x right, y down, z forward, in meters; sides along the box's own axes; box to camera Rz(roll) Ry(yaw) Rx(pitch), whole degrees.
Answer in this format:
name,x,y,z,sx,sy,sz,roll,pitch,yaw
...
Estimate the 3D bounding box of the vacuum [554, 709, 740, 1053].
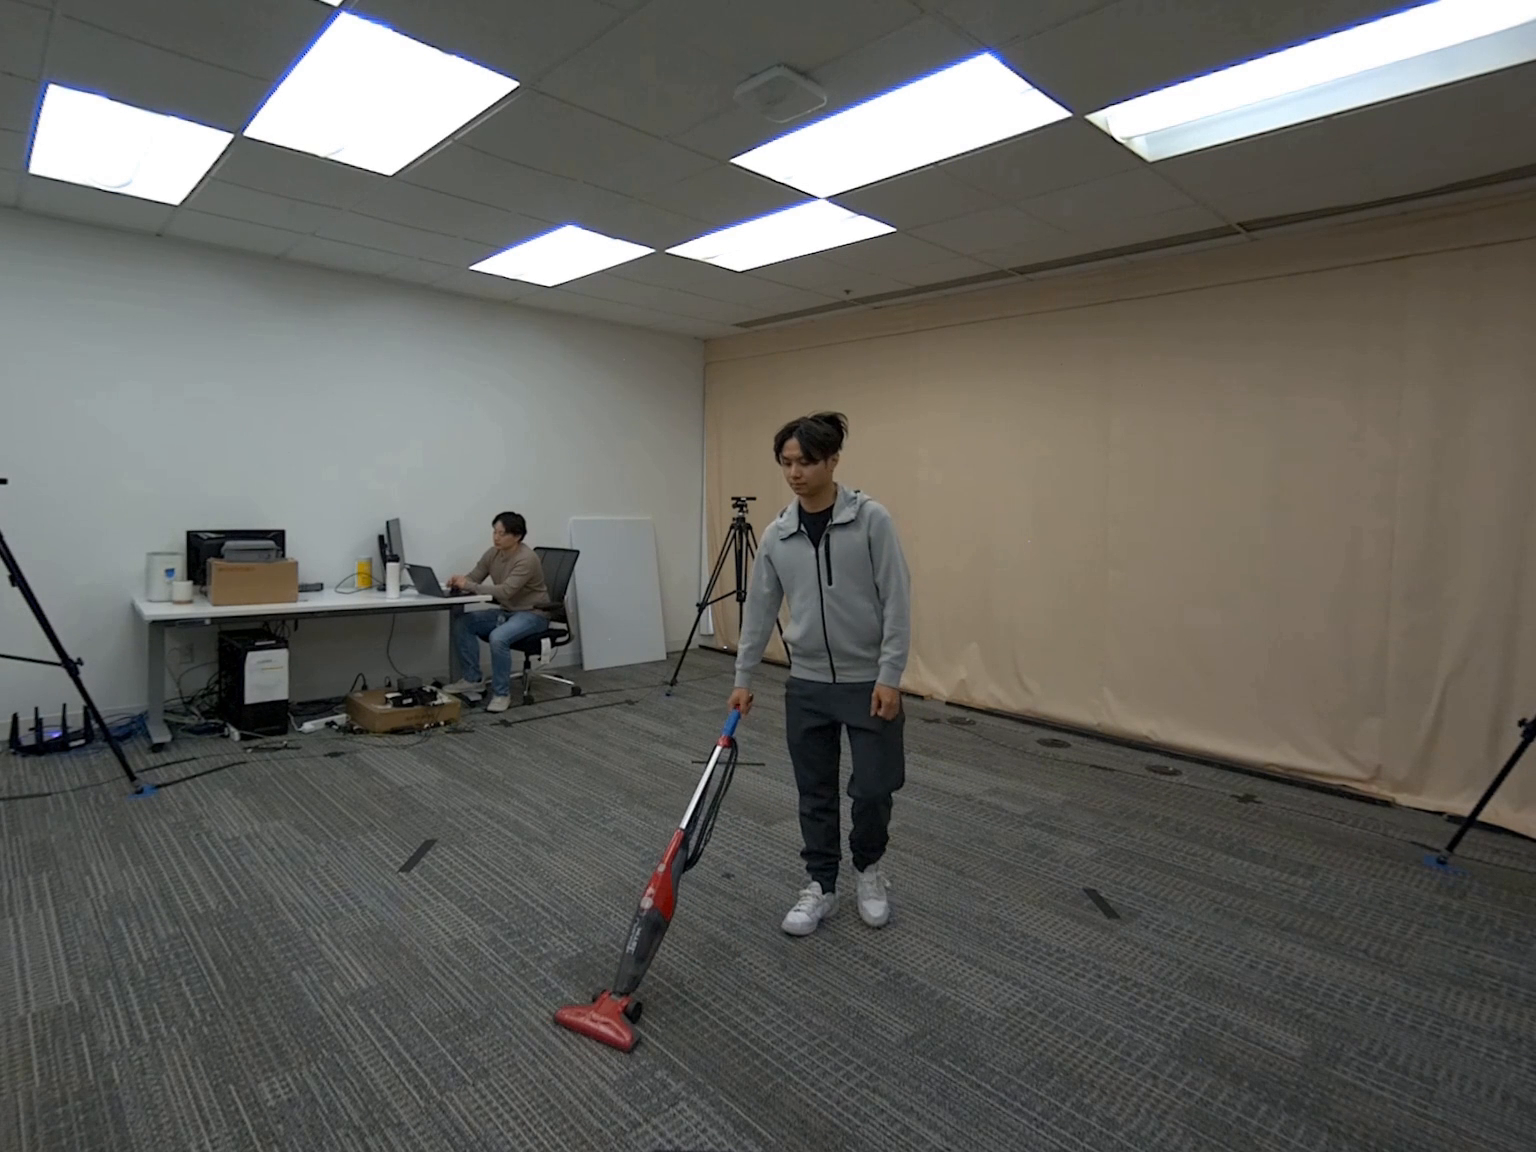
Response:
name,x,y,z,sx,sy,sz,roll,pitch,yaw
vacuum,-0.244,0.799,2.530,0.258,0.140,1.058,3,46,28
